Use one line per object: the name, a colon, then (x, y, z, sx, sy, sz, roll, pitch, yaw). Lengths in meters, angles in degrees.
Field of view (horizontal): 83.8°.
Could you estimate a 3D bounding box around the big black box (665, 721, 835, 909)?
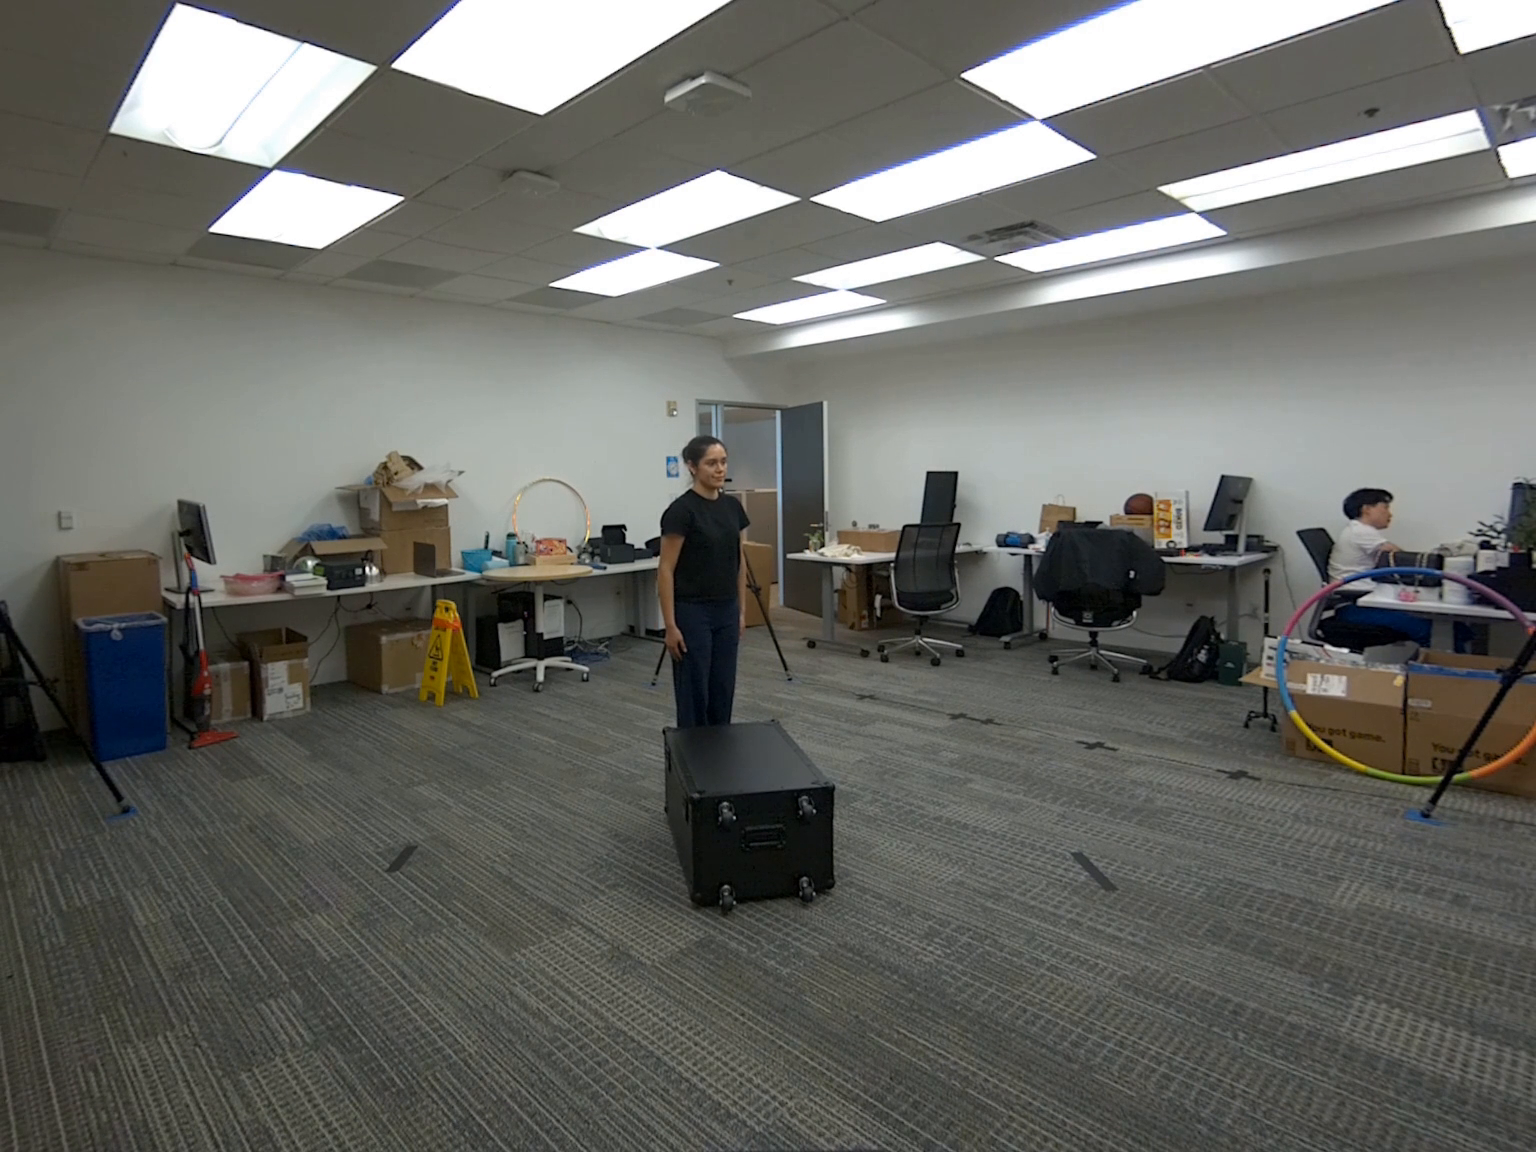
big black box: (-0.096, 0.844, 3.162, 0.515, 0.395, 0.875, -2, 5, -13)
